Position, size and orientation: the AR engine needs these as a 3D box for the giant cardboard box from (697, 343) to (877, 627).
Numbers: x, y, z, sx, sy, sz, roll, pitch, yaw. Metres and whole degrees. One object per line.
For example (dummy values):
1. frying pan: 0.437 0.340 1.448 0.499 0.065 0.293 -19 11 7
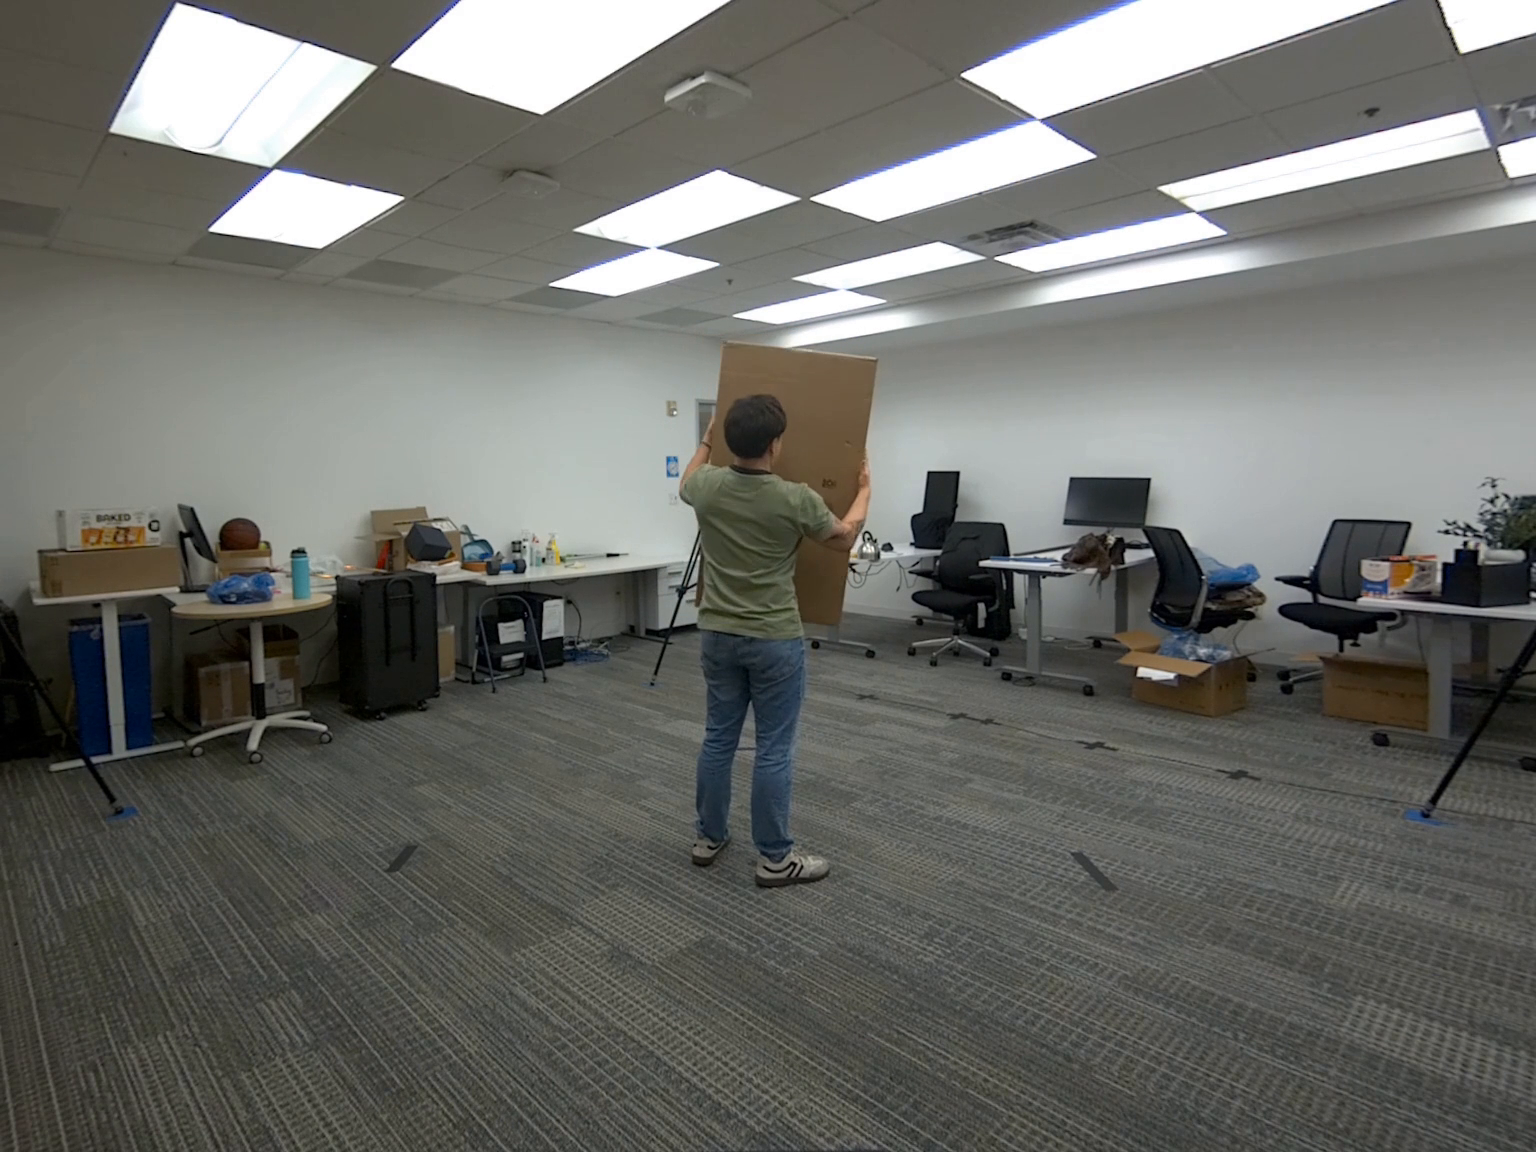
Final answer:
1. giant cardboard box: 0.066 -0.357 3.427 0.579 1.017 0.429 7 11 2
